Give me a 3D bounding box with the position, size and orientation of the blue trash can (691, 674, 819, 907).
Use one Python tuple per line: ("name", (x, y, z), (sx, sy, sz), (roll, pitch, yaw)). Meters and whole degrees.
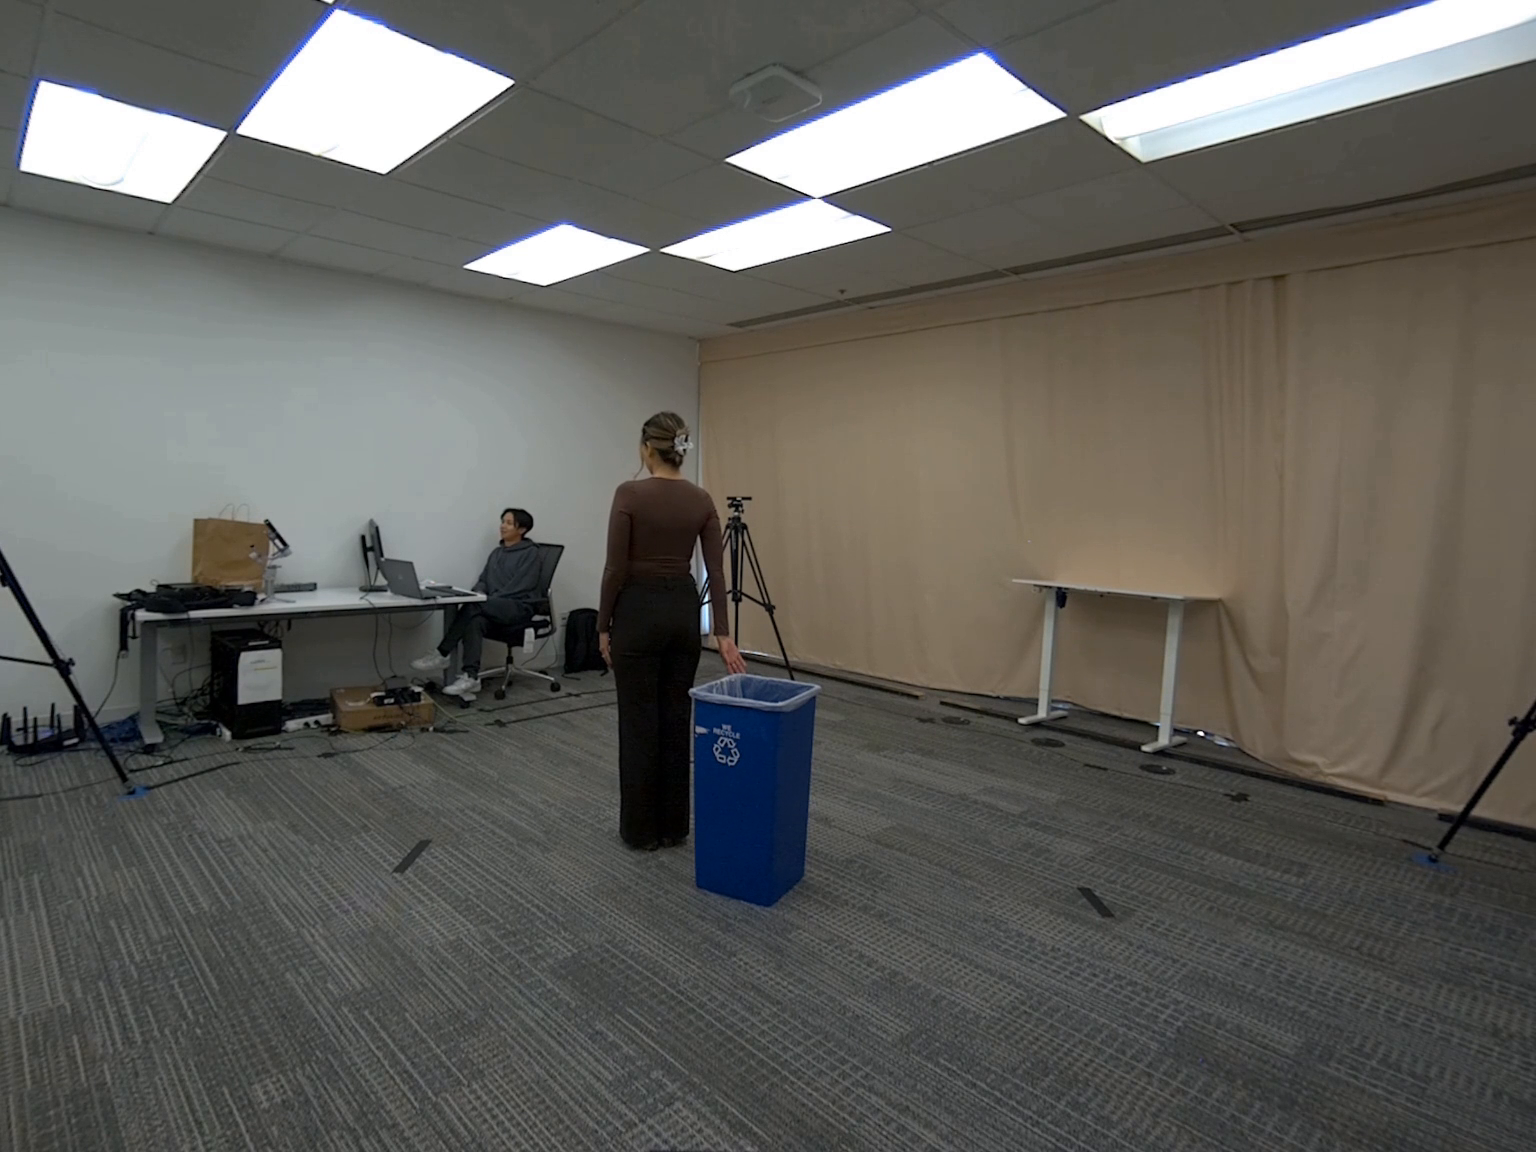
("blue trash can", (-0.062, 0.754, 3.048), (0.386, 0.711, 0.367), (3, 5, 27))
